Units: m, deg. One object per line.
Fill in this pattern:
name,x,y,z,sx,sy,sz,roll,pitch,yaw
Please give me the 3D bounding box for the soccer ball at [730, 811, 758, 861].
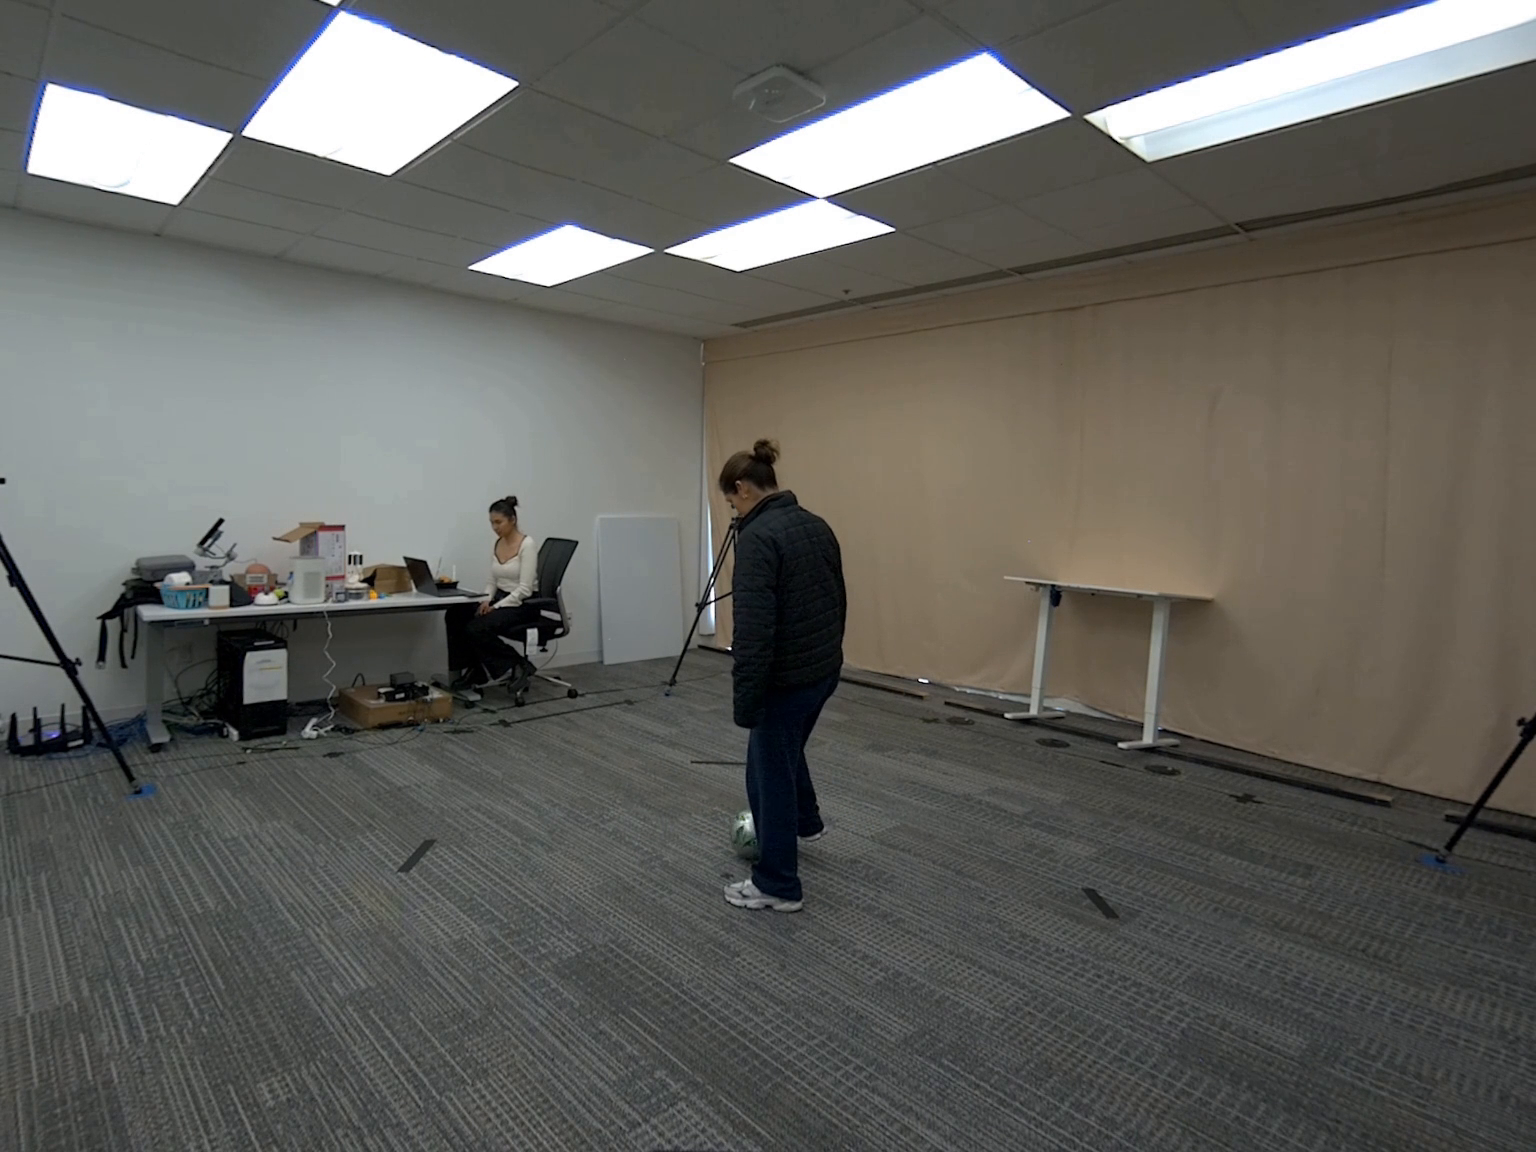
soccer ball,-0.062,0.992,3.268,0.187,0.187,0.188,1,4,-1
